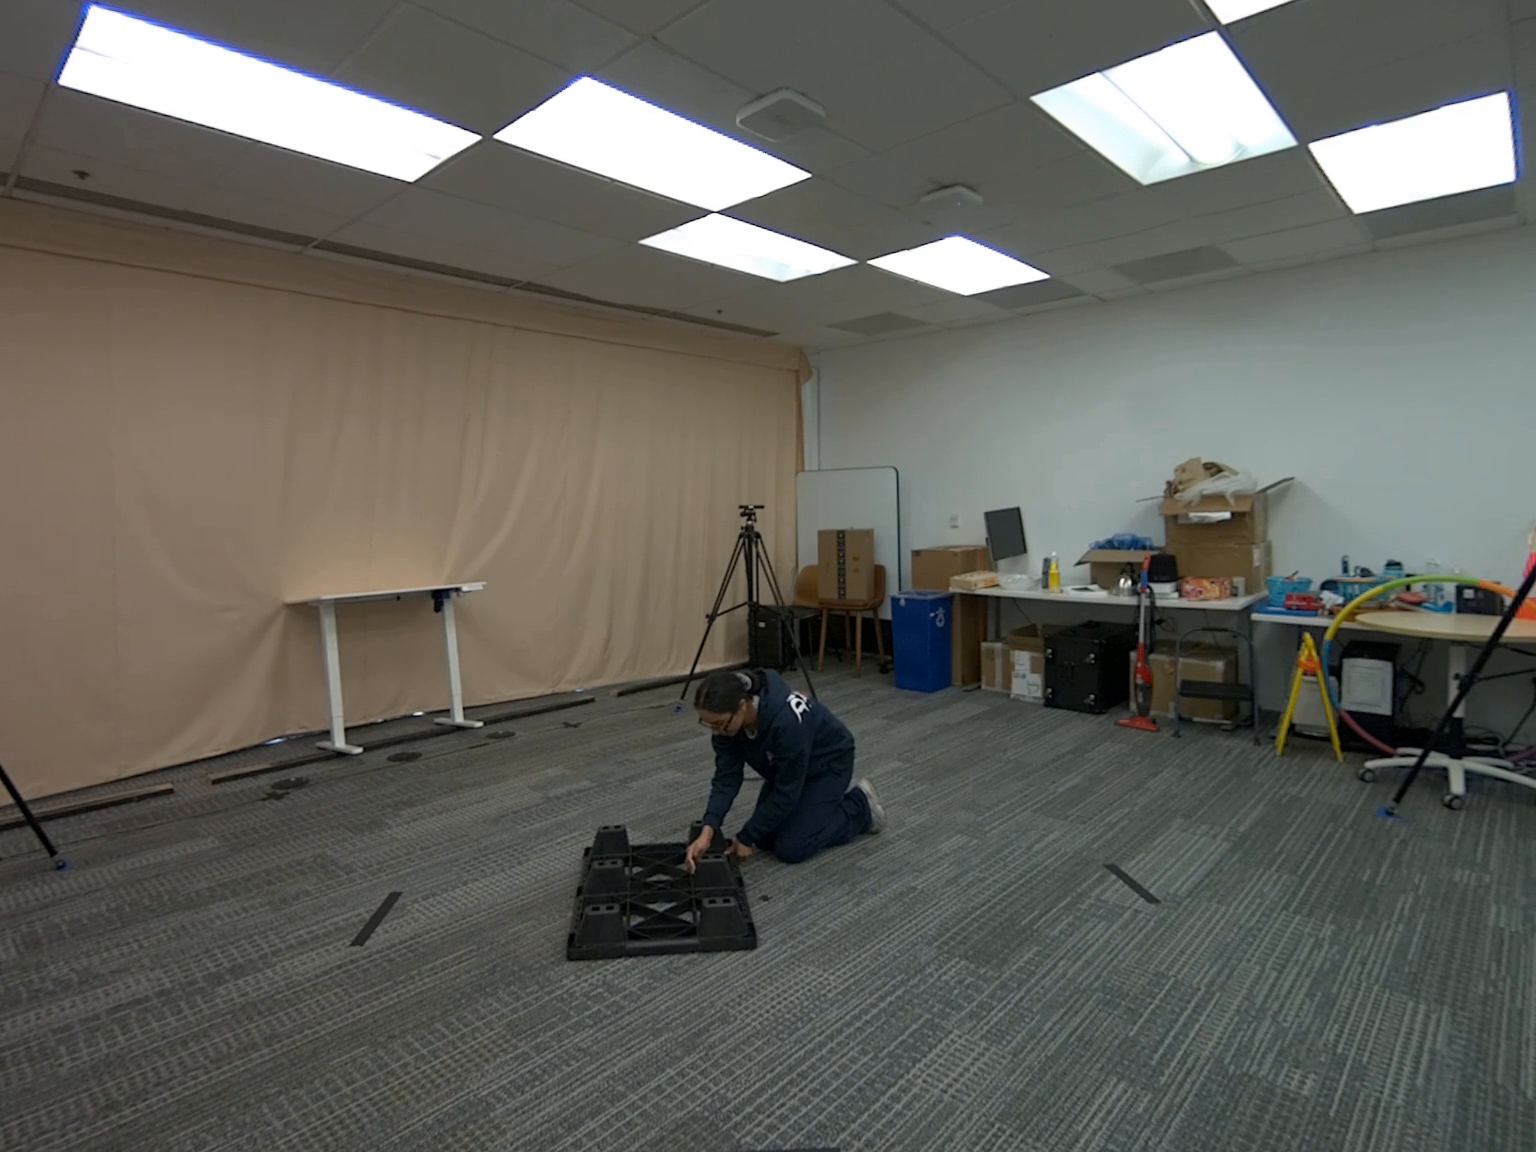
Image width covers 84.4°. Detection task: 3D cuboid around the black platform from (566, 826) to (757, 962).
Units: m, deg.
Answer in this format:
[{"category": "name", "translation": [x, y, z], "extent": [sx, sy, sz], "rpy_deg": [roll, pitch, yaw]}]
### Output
[{"category": "black platform", "translation": [-0.383, 1.079, 3.004], "extent": [0.601, 0.143, 0.813], "rpy_deg": [-1, 5, -7]}]
